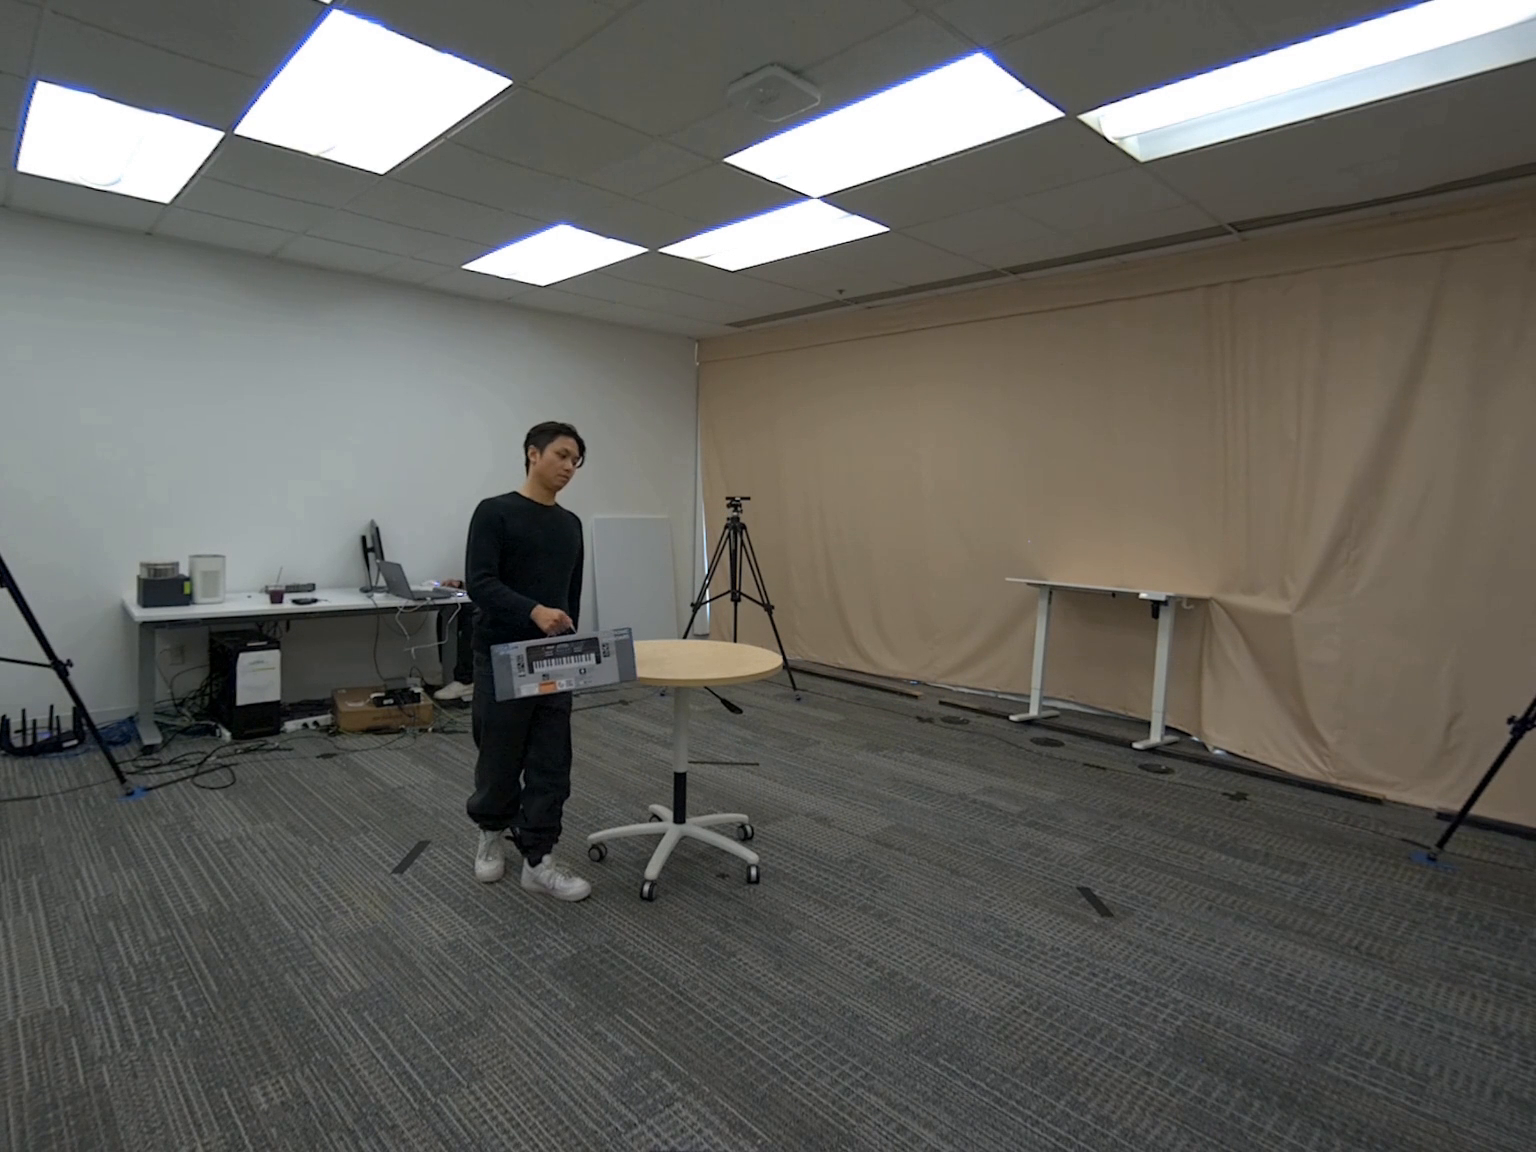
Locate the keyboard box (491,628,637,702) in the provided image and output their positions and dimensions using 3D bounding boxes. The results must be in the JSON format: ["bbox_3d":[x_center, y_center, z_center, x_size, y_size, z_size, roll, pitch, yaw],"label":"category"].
[{"bbox_3d":[-0.649,0.277,2.670,0.435,0.176,0.059,-7,-4,-7],"label":"keyboard box"}]
